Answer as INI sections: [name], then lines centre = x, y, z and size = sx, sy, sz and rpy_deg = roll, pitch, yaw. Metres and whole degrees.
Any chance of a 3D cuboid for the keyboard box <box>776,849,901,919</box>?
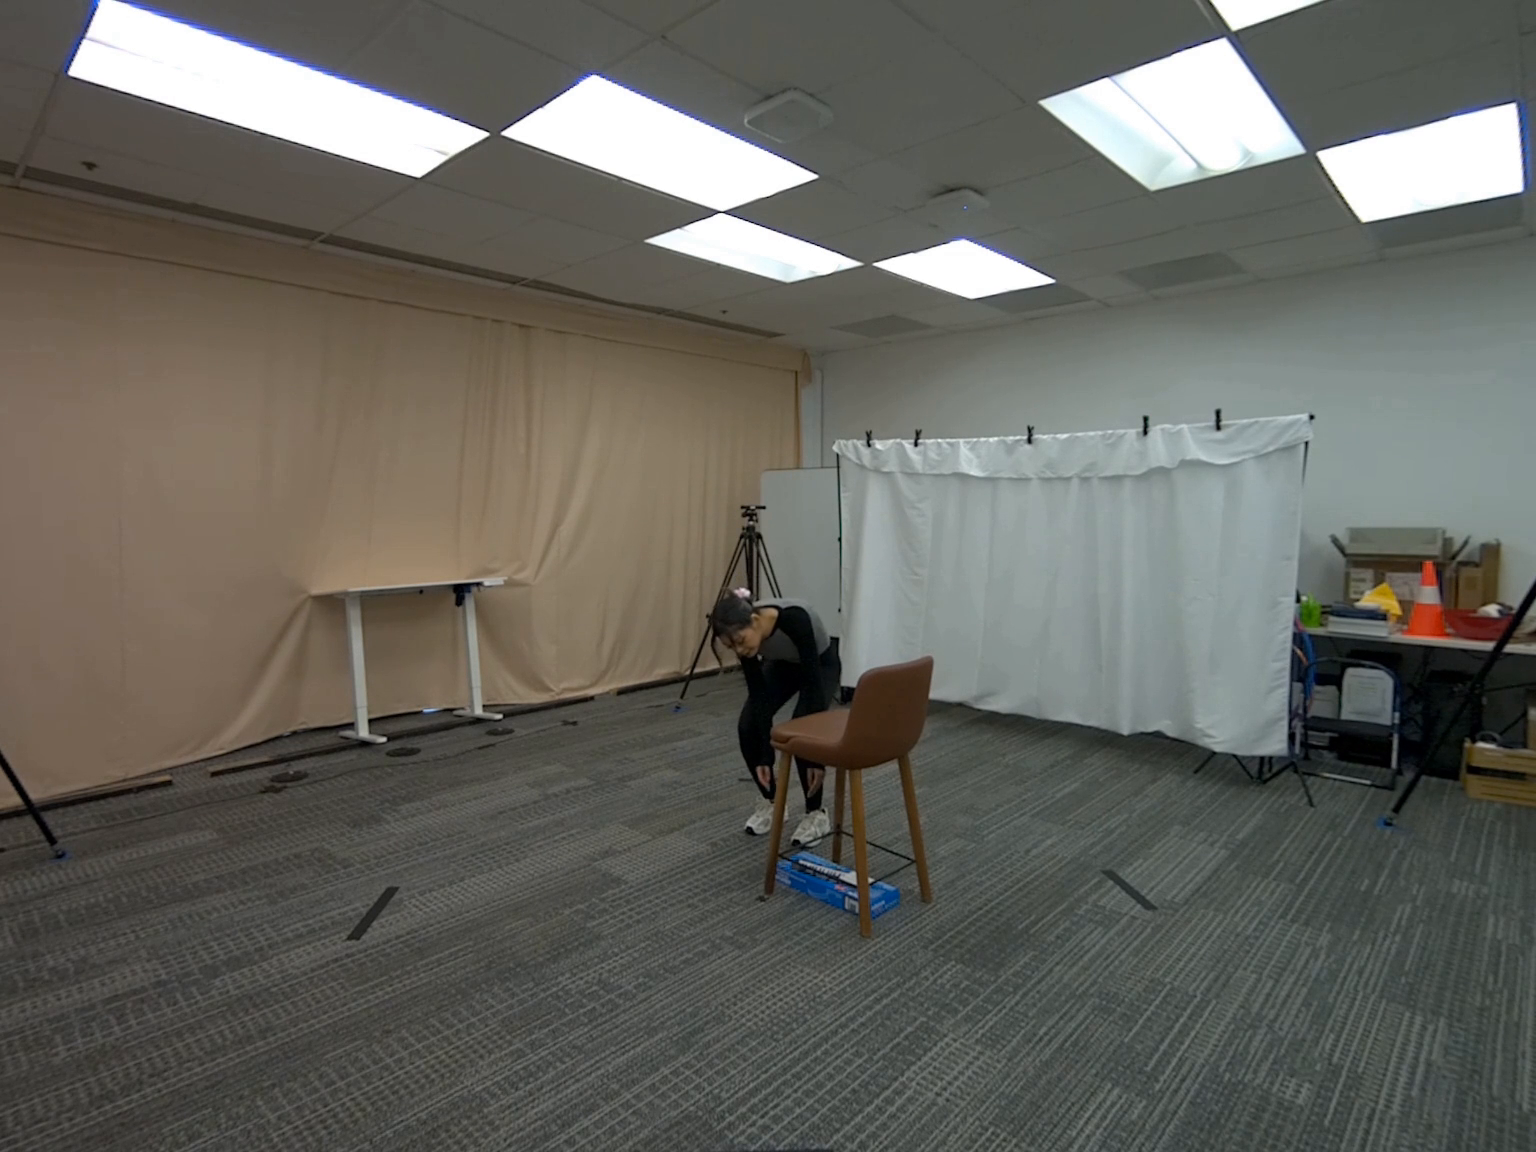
[keyboard box]
centre = 0.247, 1.112, 3.034
size = 0.170, 0.059, 0.452
rpy_deg = -4, 7, -44
